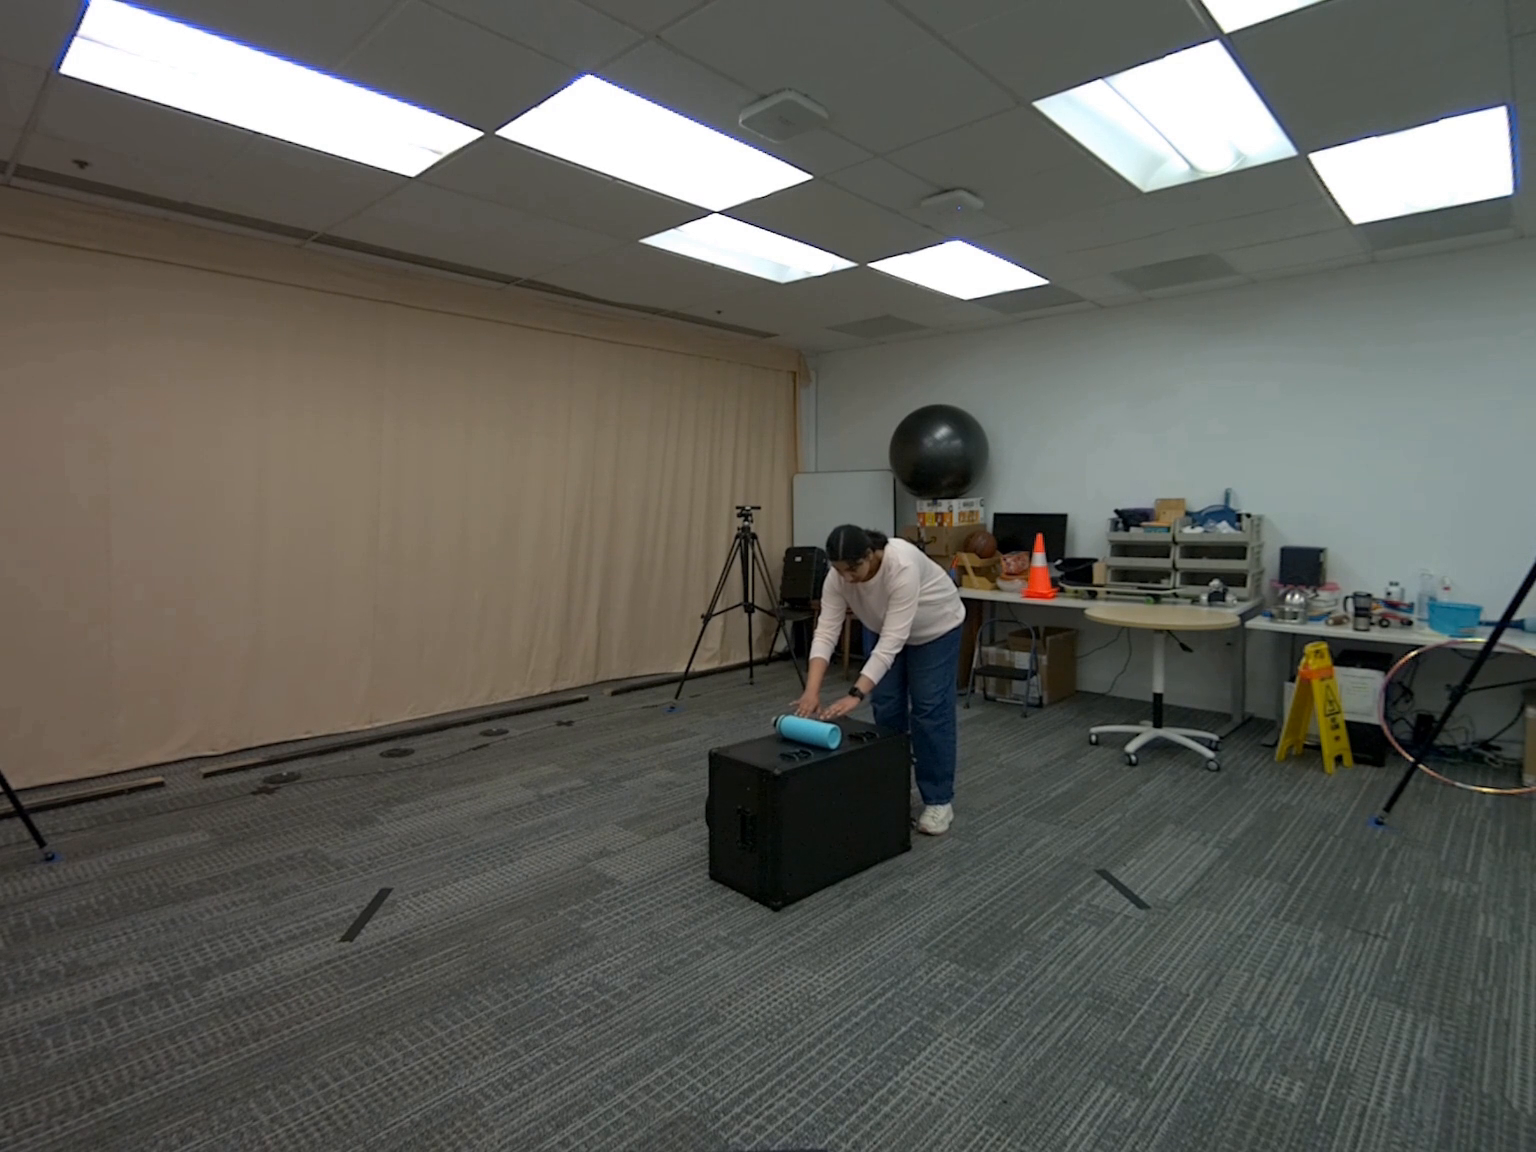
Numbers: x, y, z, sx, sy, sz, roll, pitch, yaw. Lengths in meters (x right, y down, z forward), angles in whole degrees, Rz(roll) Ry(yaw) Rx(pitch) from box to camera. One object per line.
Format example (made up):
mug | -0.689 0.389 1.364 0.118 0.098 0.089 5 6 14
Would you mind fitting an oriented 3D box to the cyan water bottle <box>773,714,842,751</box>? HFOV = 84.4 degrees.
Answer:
cyan water bottle | 0.147 0.589 3.231 0.293 0.092 0.089 3 5 41
